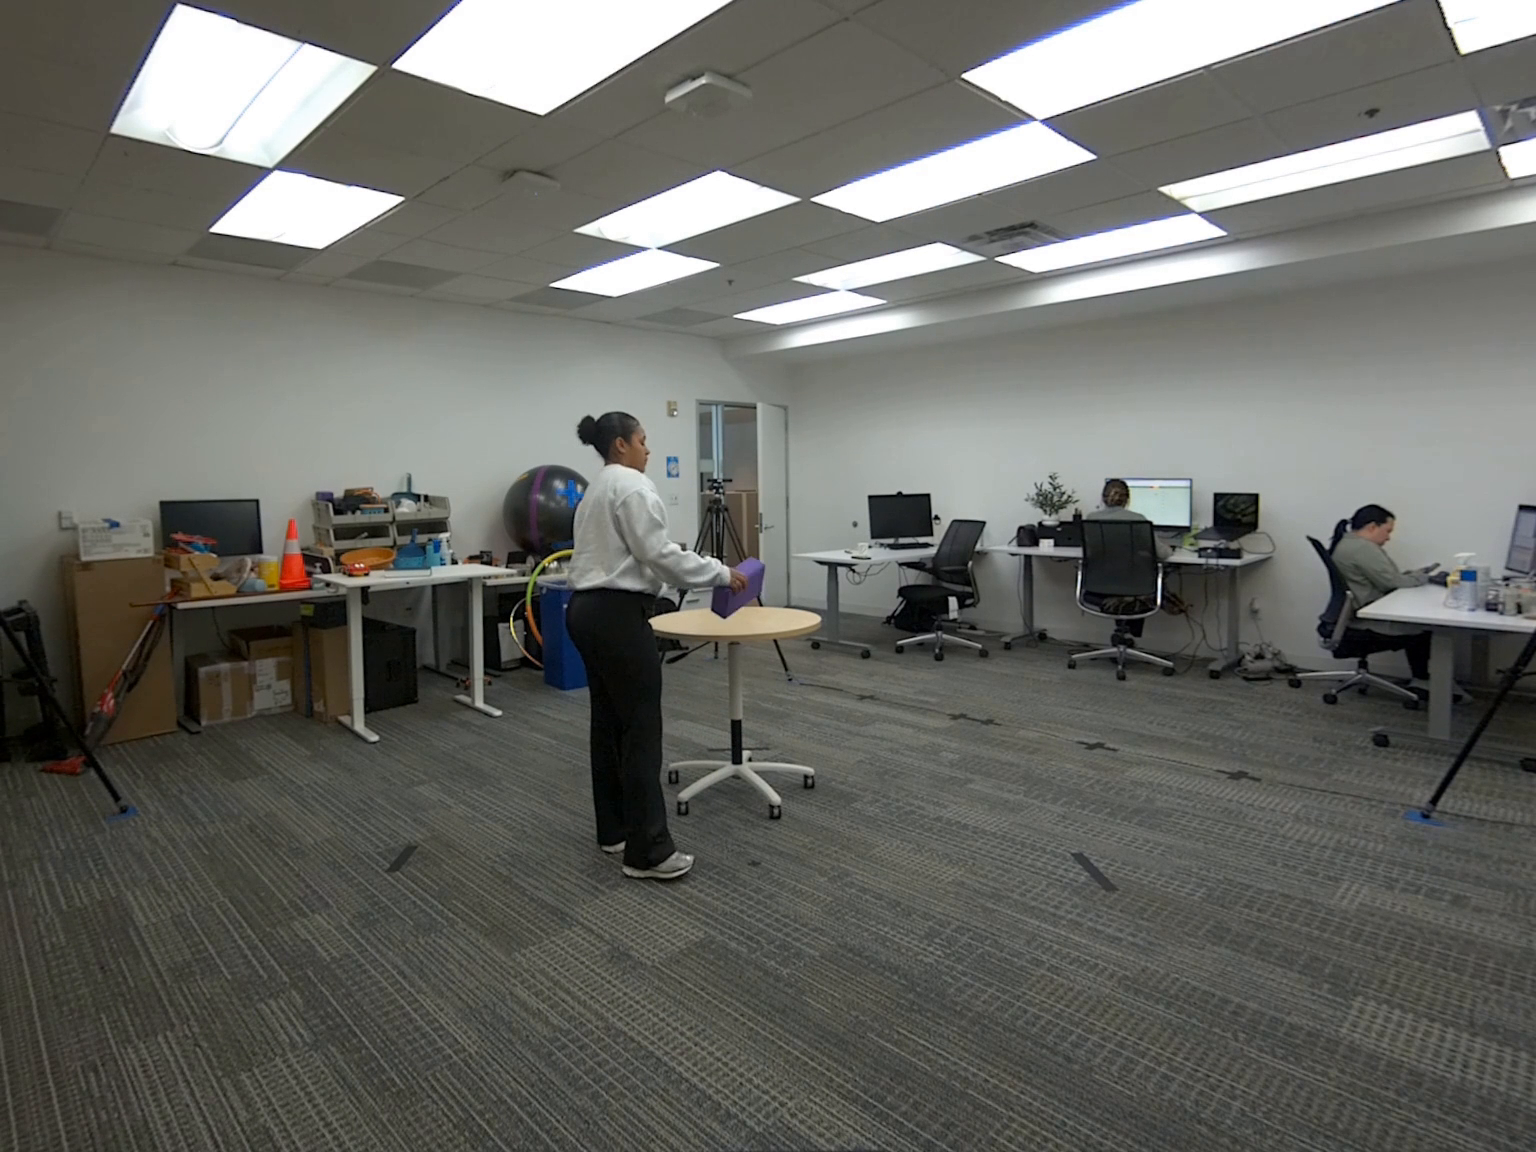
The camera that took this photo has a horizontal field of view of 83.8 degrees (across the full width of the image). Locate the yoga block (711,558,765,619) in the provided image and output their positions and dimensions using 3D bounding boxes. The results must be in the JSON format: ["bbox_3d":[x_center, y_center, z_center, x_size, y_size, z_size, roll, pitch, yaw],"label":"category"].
[{"bbox_3d":[-0.119,0.050,3.212,0.078,0.146,0.227,30,42,22],"label":"yoga block"}]
